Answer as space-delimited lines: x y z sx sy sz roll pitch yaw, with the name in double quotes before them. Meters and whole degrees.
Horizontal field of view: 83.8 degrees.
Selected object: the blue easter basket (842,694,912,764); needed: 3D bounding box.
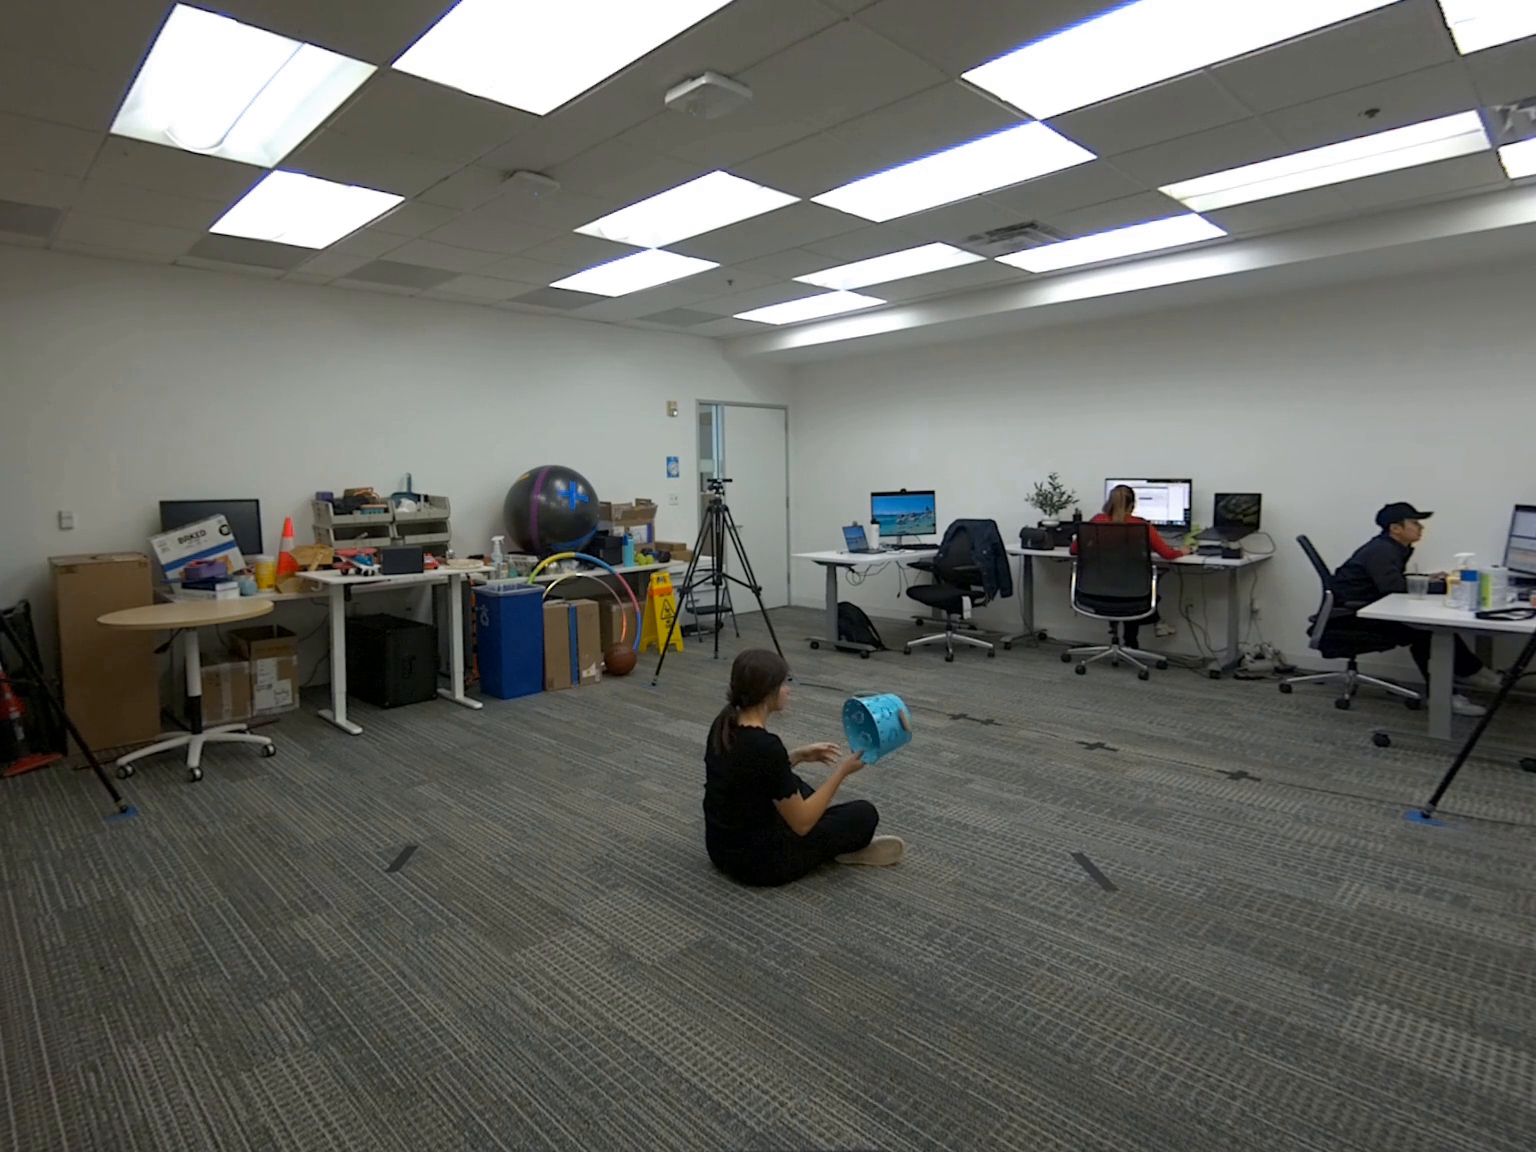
"blue easter basket" 0.382 0.525 2.959 0.153 0.242 0.249 -11 8 -24
